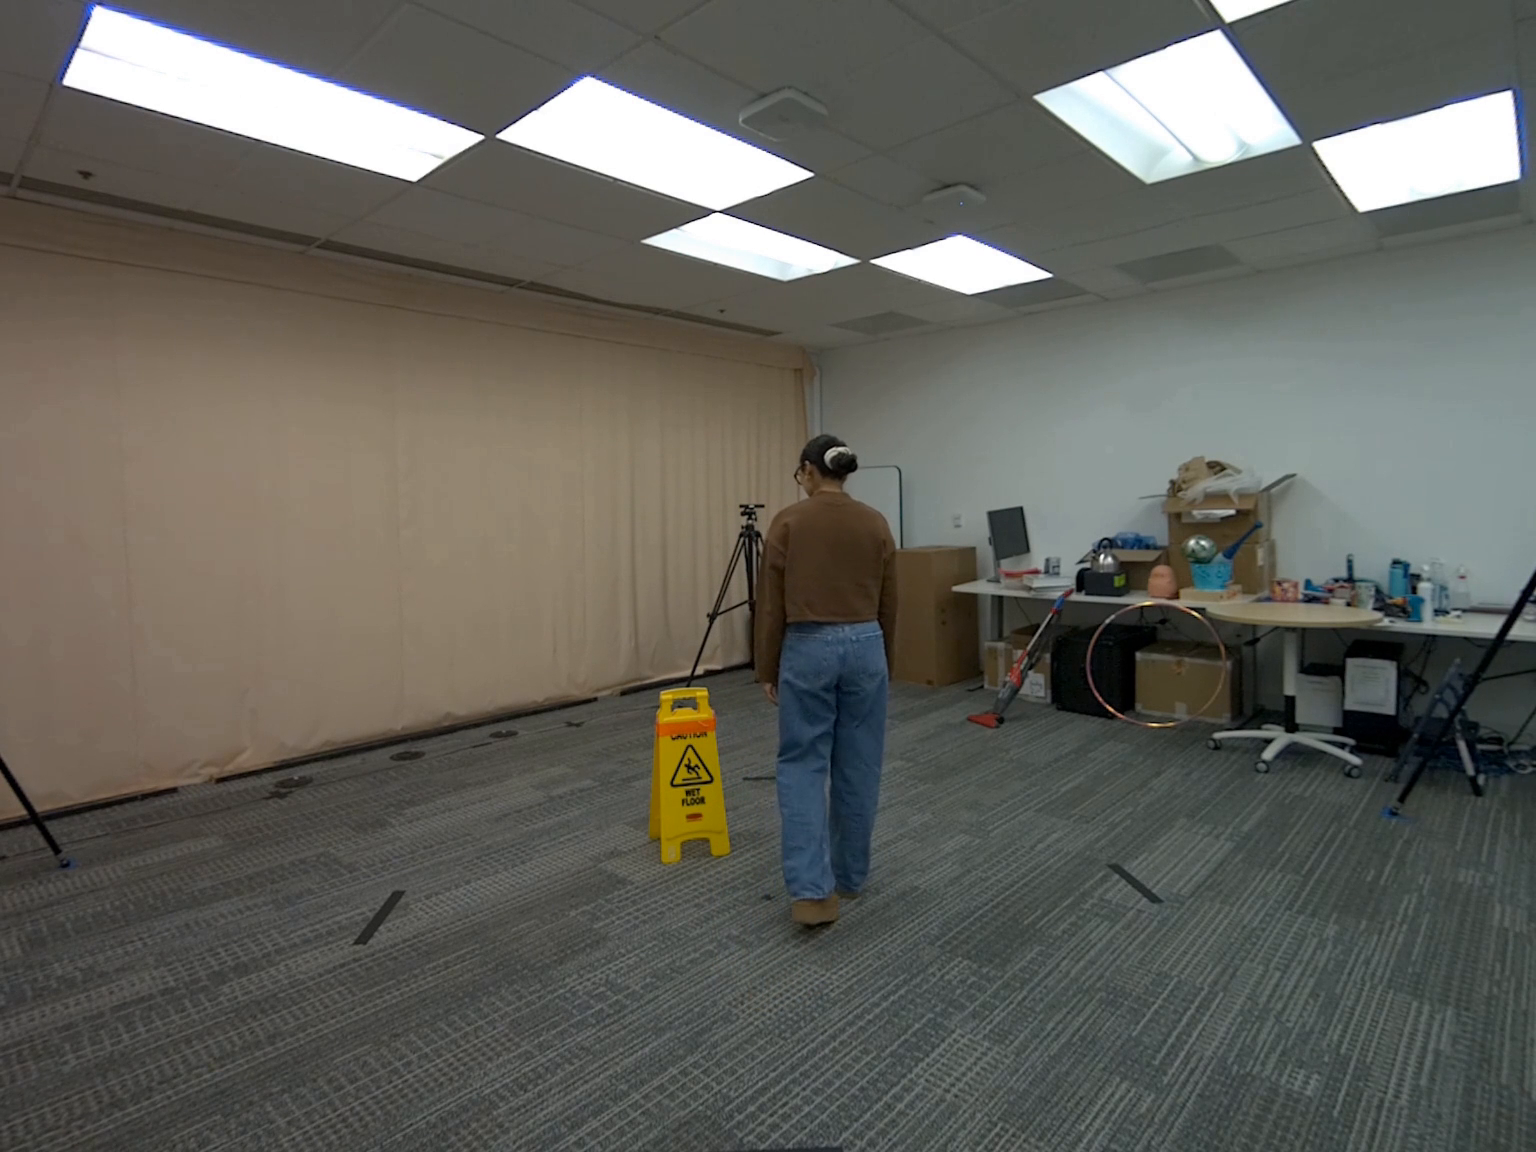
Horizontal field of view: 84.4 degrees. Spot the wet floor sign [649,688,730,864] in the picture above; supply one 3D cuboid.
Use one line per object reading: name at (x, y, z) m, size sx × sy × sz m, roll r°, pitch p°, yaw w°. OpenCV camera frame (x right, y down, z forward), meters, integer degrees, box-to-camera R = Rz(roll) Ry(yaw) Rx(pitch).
wet floor sign at (-0.331, 0.782, 3.437) m, size 0.277 × 0.645 × 0.295 m, roll -1°, pitch 3°, yaw -17°
